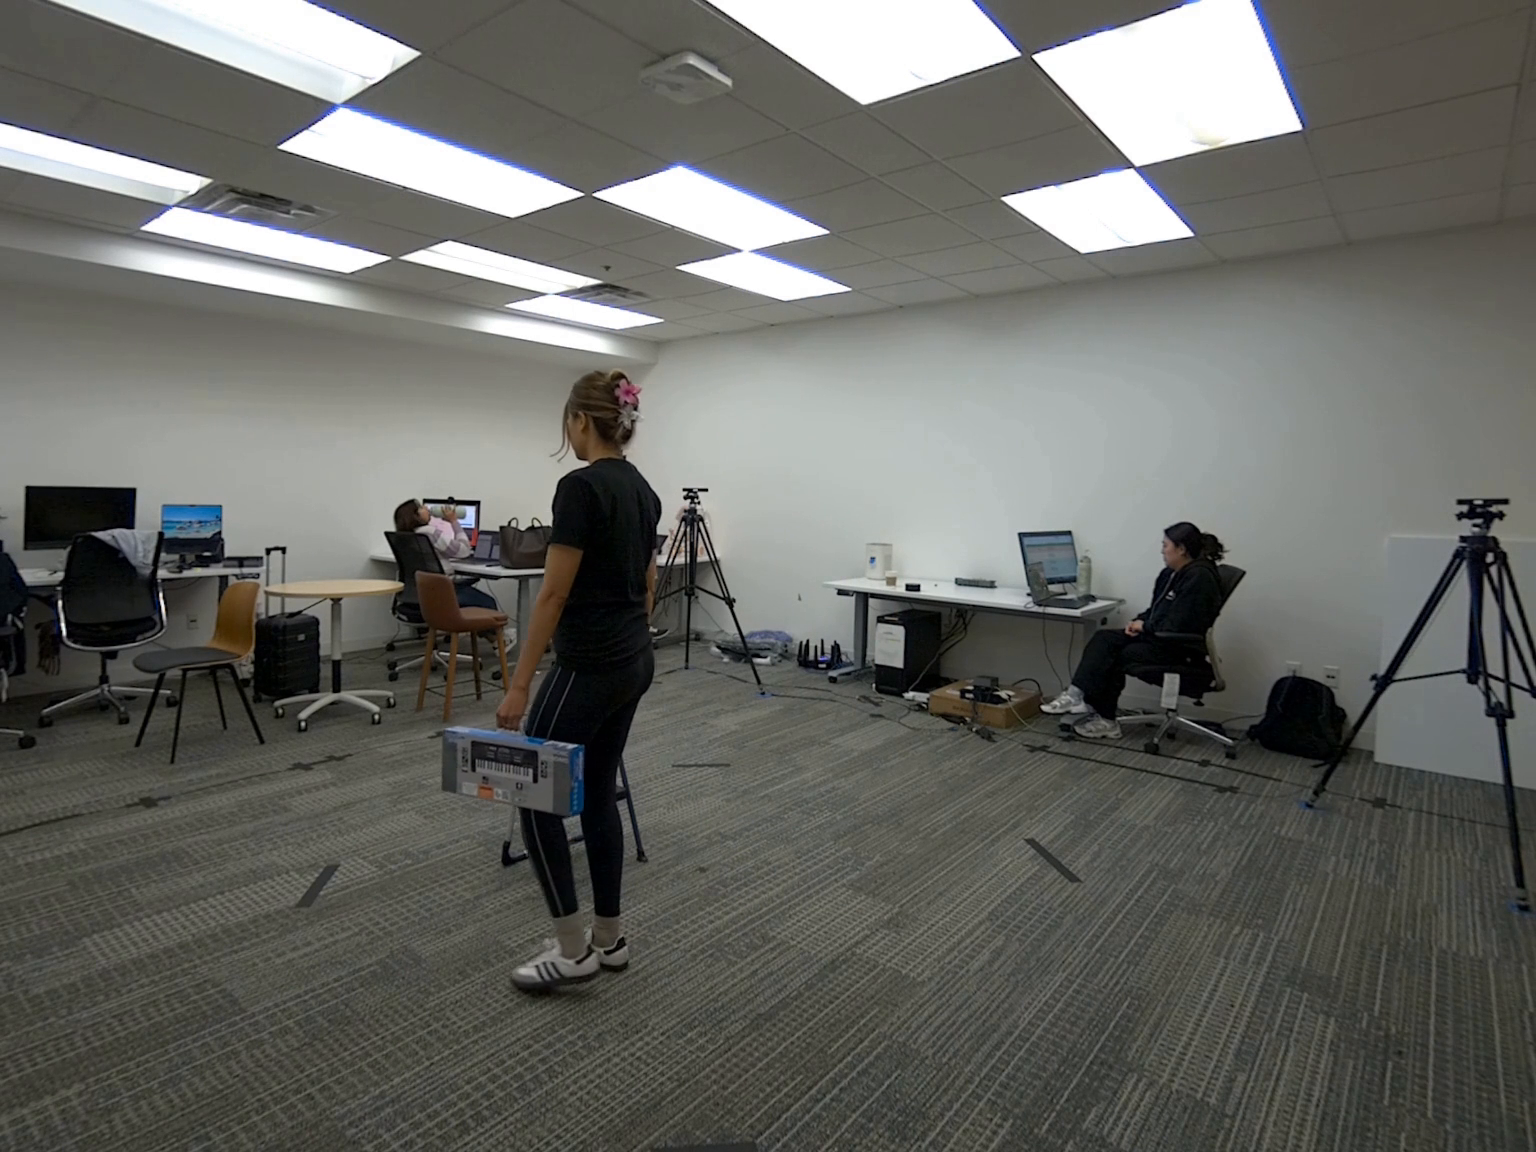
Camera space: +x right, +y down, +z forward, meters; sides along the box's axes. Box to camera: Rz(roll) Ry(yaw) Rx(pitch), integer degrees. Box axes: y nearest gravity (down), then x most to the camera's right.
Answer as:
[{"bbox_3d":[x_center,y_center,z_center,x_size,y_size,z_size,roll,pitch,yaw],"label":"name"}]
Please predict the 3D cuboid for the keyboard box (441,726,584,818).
[{"bbox_3d":[-0.693,0.515,2.278,0.447,0.176,0.058,1,2,22],"label":"keyboard box"}]
